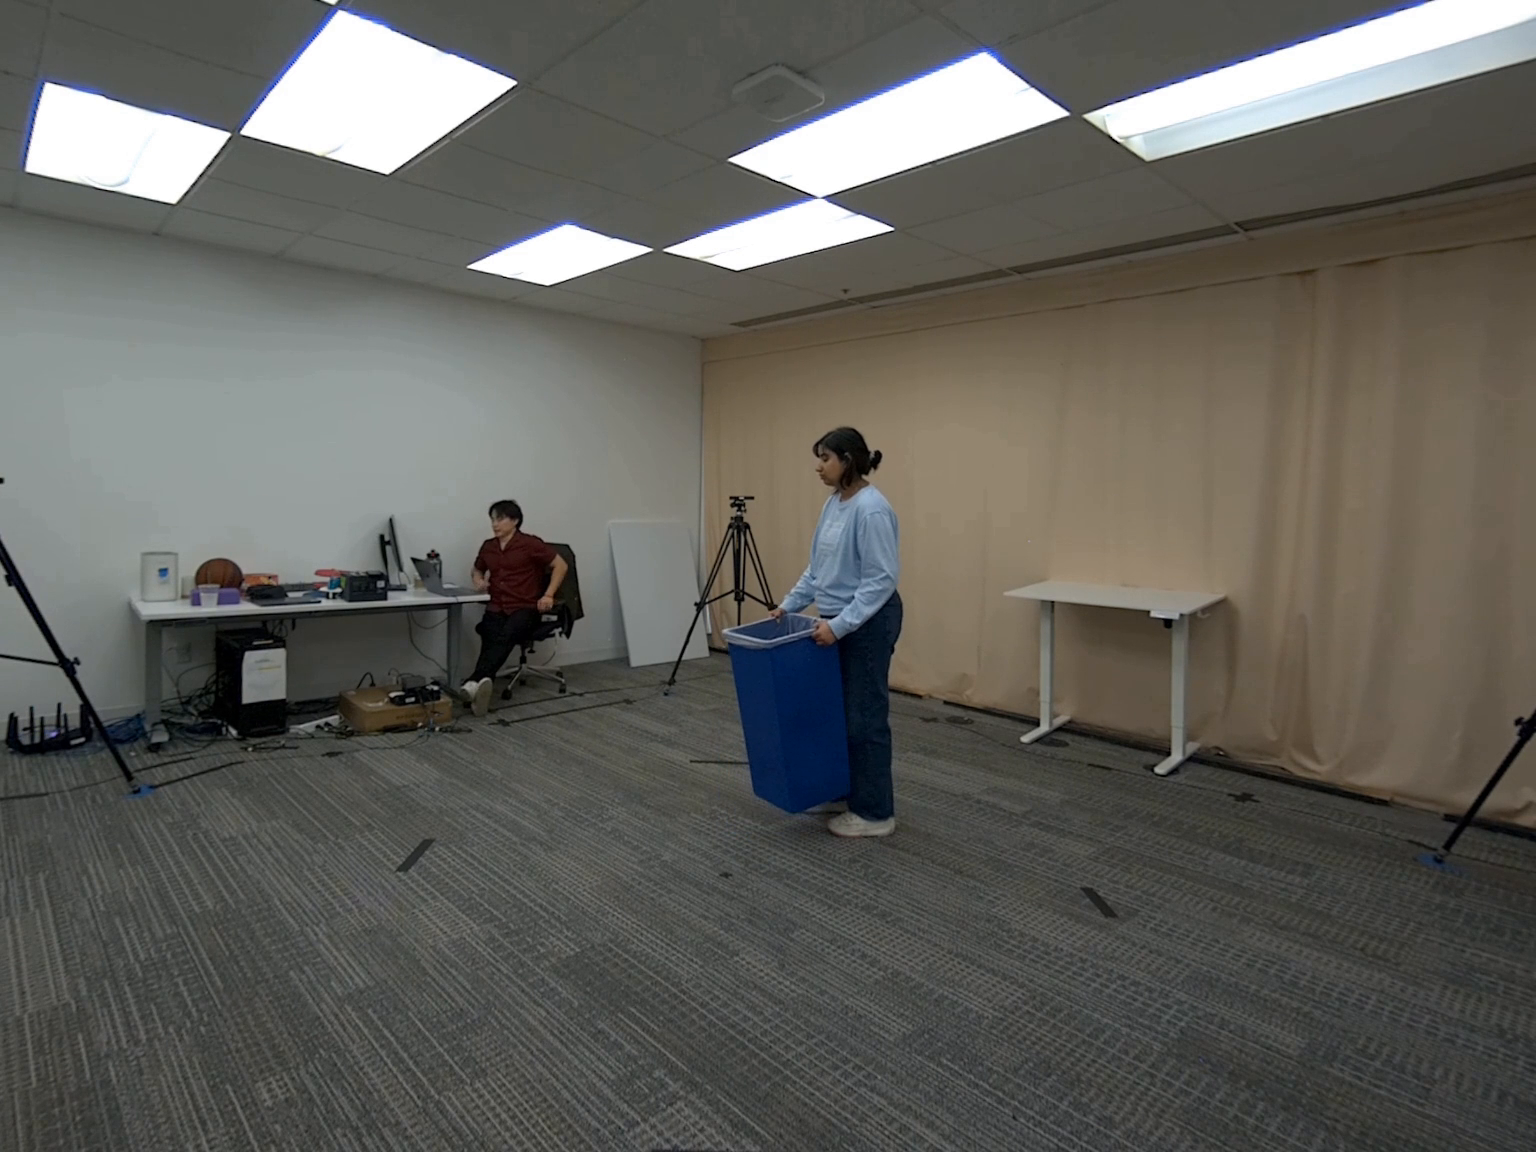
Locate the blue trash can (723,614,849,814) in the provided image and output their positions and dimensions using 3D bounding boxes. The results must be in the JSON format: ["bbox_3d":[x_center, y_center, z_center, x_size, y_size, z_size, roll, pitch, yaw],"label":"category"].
[{"bbox_3d":[0.080,0.558,3.459,0.368,0.710,0.386,-11,7,-30],"label":"blue trash can"}]
